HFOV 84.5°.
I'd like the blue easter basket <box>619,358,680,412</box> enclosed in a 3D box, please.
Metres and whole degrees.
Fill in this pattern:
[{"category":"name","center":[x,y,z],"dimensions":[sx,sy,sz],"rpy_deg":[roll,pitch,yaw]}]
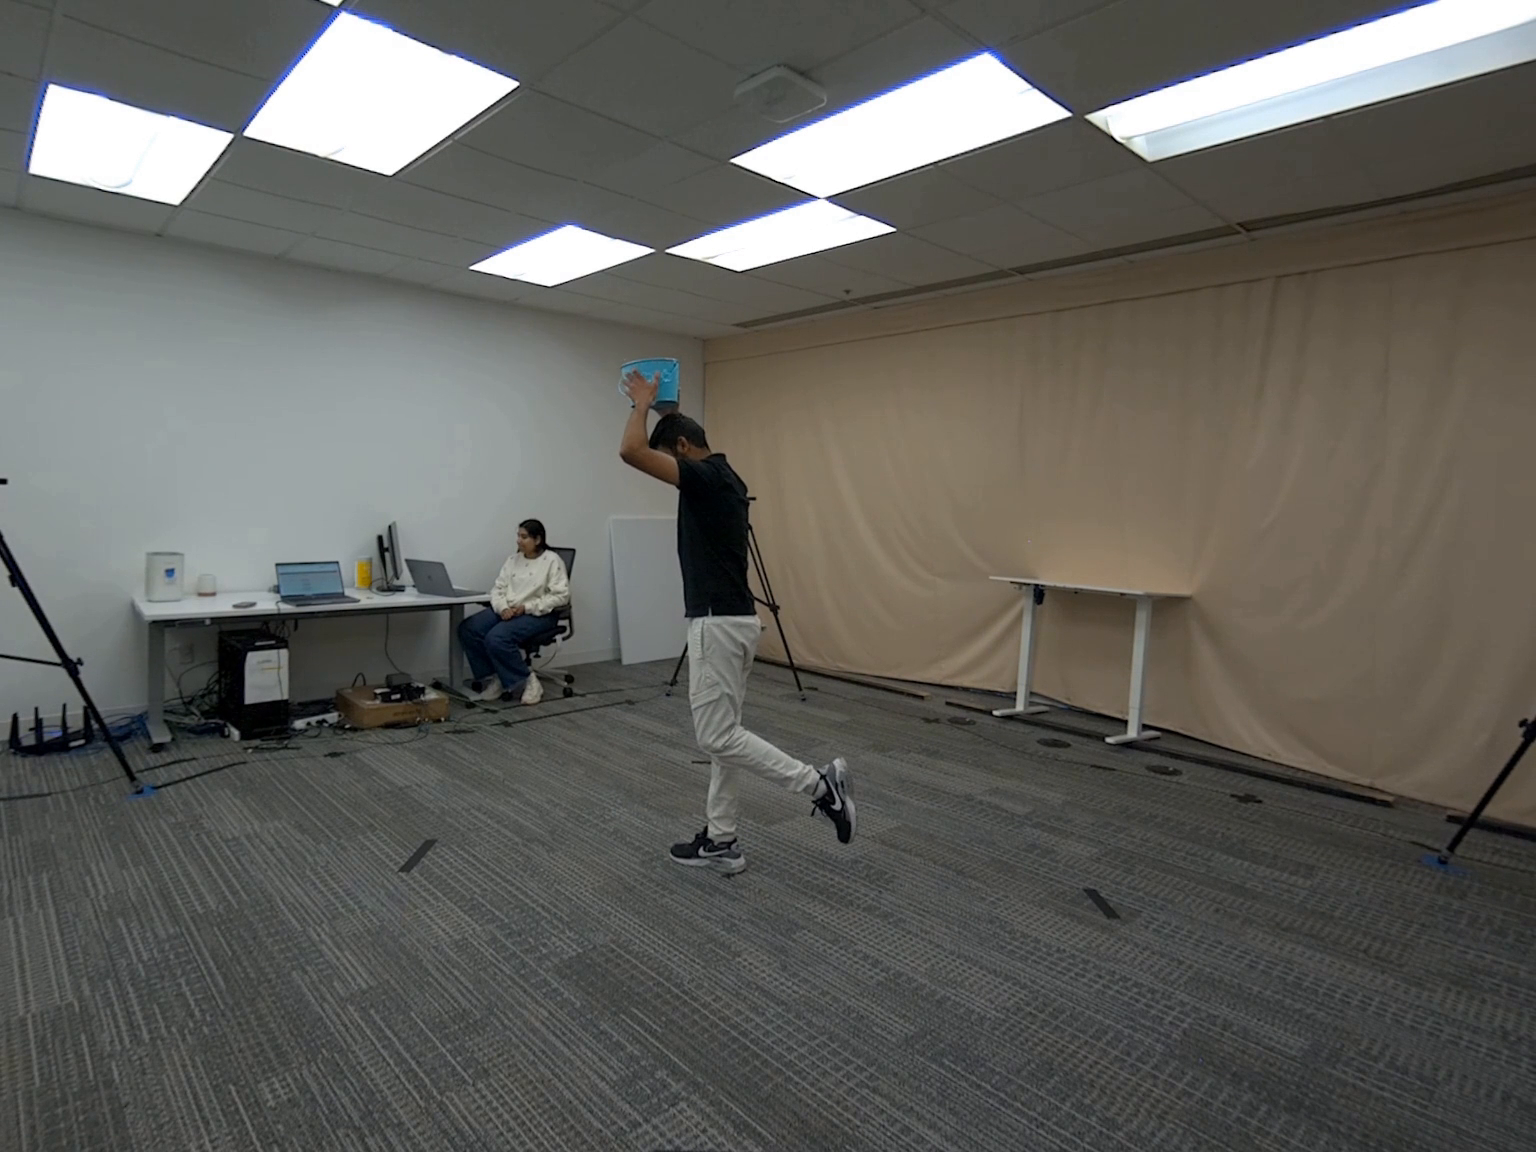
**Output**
[{"category":"blue easter basket","center":[-0.454,-0.735,3.228],"dimensions":[0.243,0.156,0.244],"rpy_deg":[-6,2,-1]}]
